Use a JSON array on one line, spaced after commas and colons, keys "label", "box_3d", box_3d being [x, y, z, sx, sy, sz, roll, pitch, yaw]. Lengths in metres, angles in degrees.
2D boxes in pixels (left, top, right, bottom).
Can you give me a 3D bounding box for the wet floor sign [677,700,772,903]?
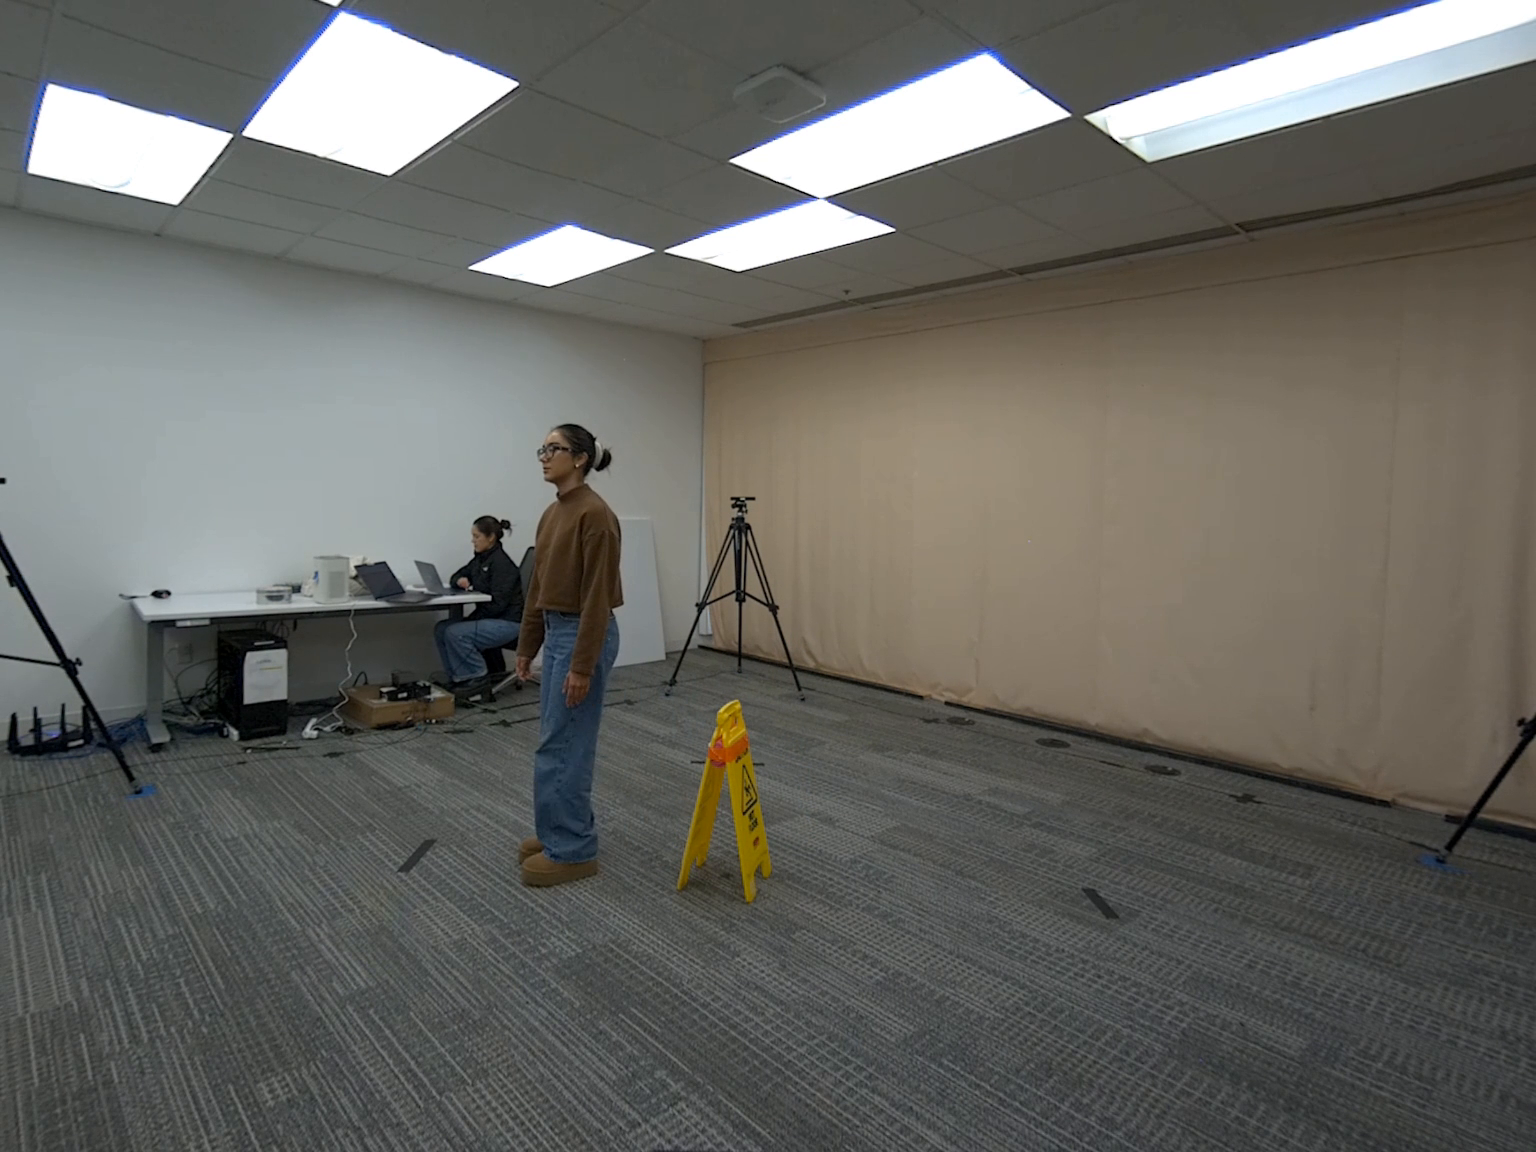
[{"label": "wet floor sign", "box_3d": [-0.153, 0.788, 3.040, 0.294, 0.644, 0.279, 3, 5, 18]}]
